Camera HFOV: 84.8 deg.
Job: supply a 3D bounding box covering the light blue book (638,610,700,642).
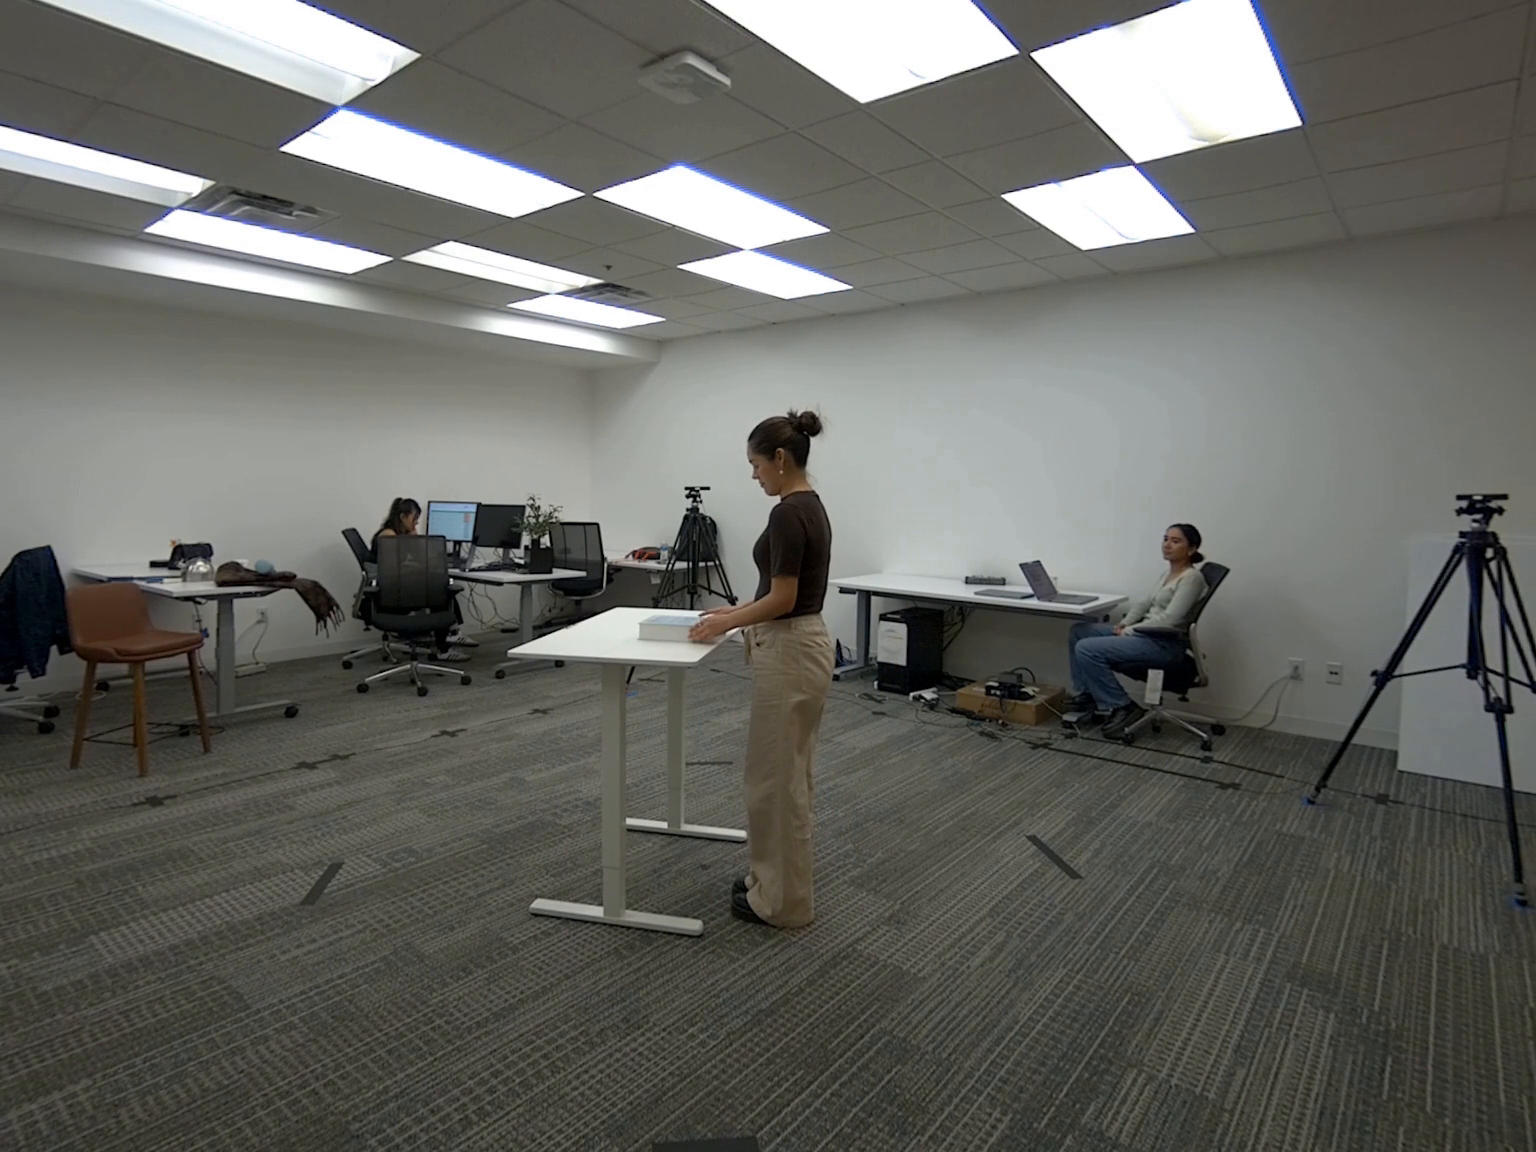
[{"bbox_3d":[-0.301,0.177,2.886,0.263,0.059,0.190,2,7,8],"label":"light blue book"}]
